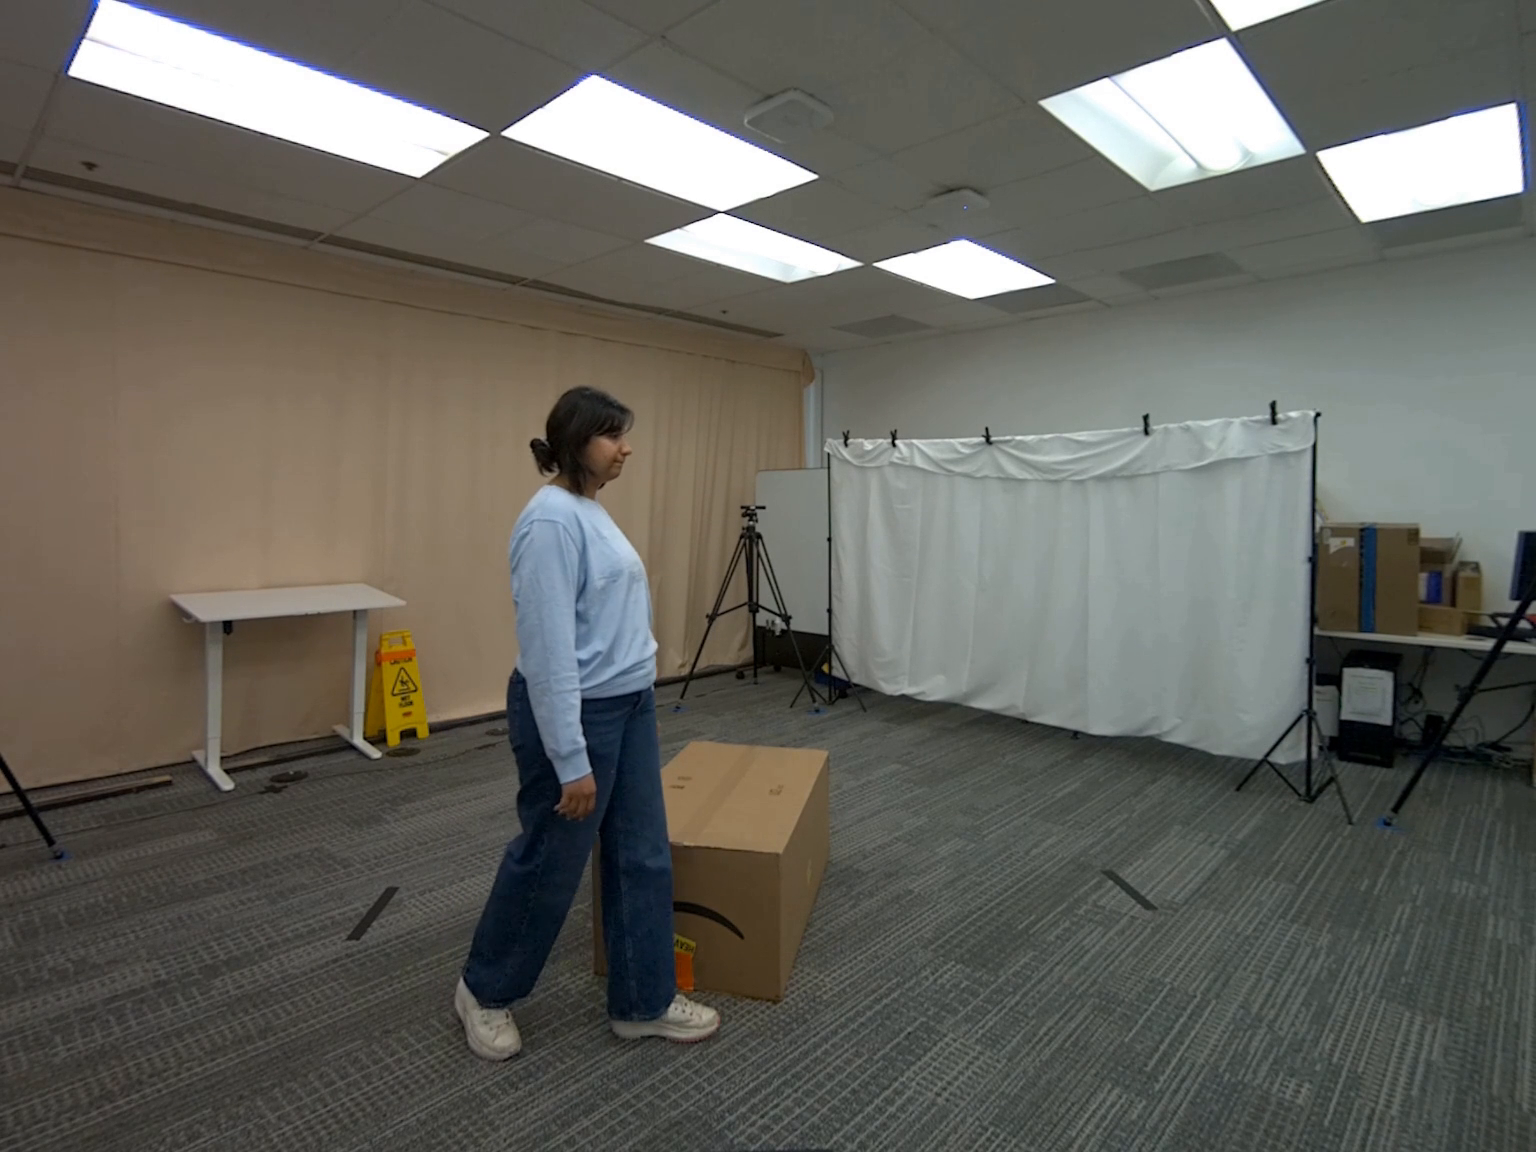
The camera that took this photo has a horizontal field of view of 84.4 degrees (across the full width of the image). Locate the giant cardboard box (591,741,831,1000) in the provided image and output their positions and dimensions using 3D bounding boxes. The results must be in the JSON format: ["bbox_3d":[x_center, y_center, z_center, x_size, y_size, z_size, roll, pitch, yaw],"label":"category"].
[{"bbox_3d":[-0.132,0.934,2.909,0.586,0.425,1.013,0,5,13],"label":"giant cardboard box"}]
